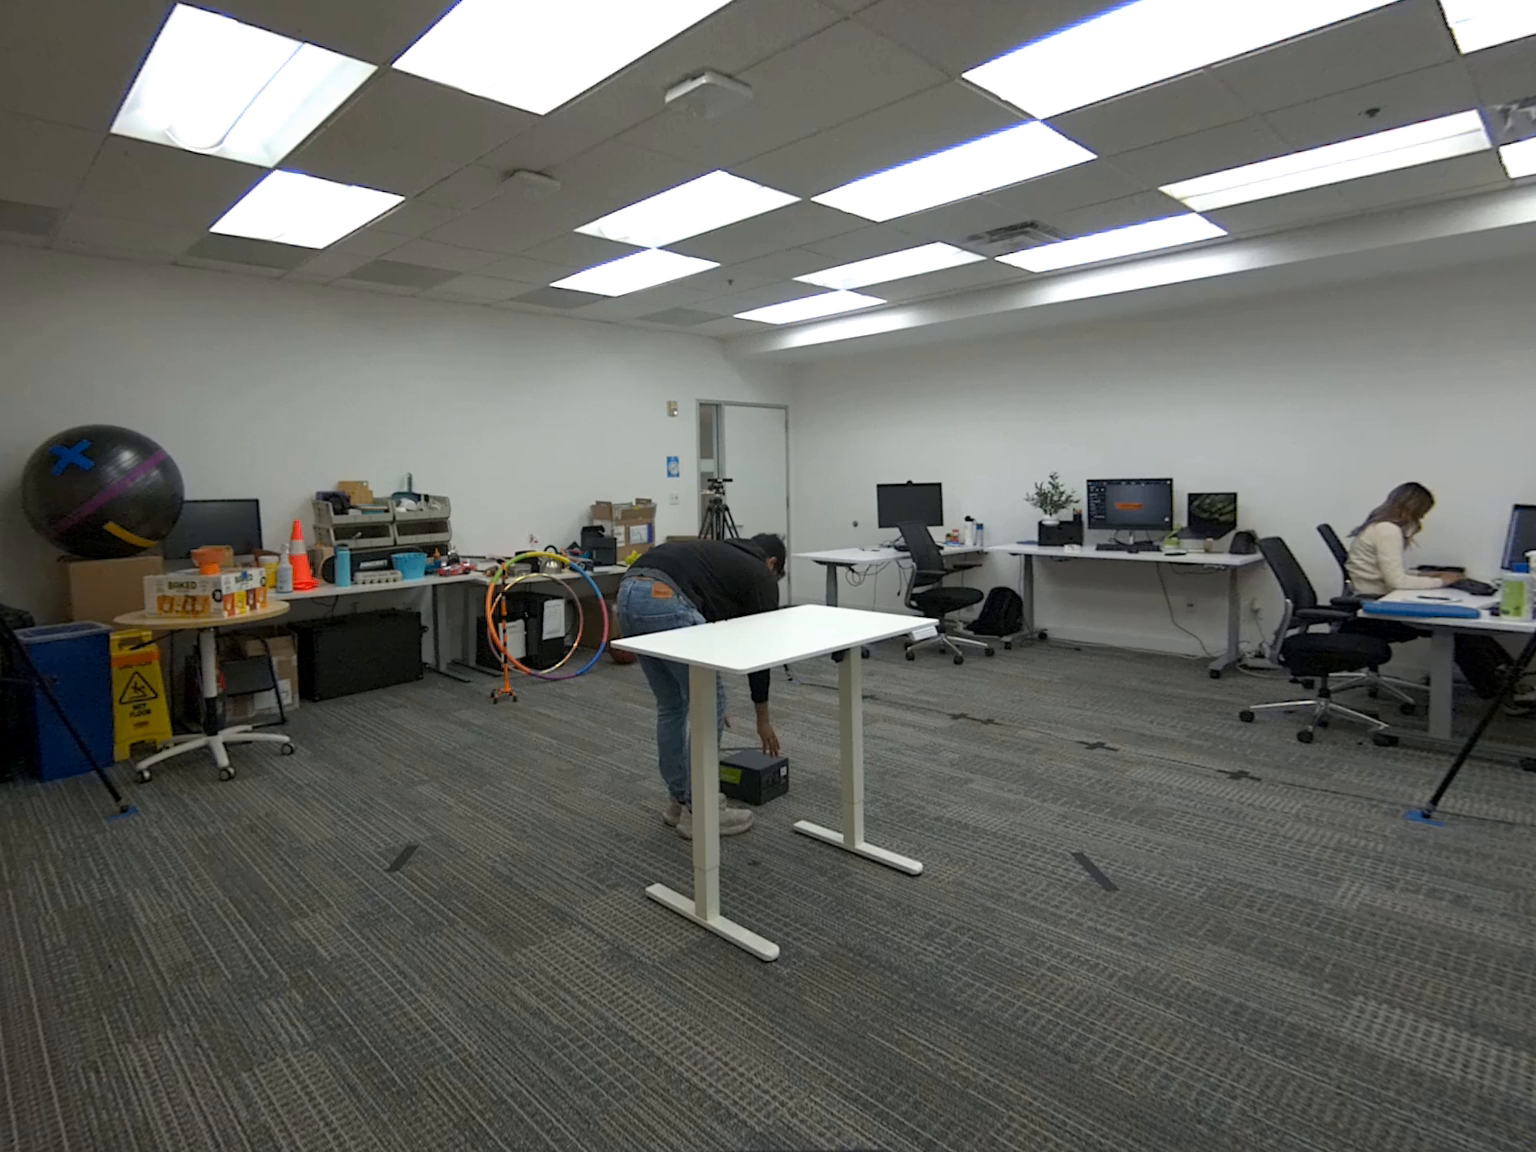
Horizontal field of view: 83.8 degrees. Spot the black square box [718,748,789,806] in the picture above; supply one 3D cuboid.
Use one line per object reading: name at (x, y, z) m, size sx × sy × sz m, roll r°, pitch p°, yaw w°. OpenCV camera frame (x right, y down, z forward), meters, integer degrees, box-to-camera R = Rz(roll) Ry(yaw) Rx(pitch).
black square box at (-0.061, 0.882, 3.788) m, size 0.234 × 0.155 × 0.211 m, roll 2°, pitch 7°, yaw 37°
